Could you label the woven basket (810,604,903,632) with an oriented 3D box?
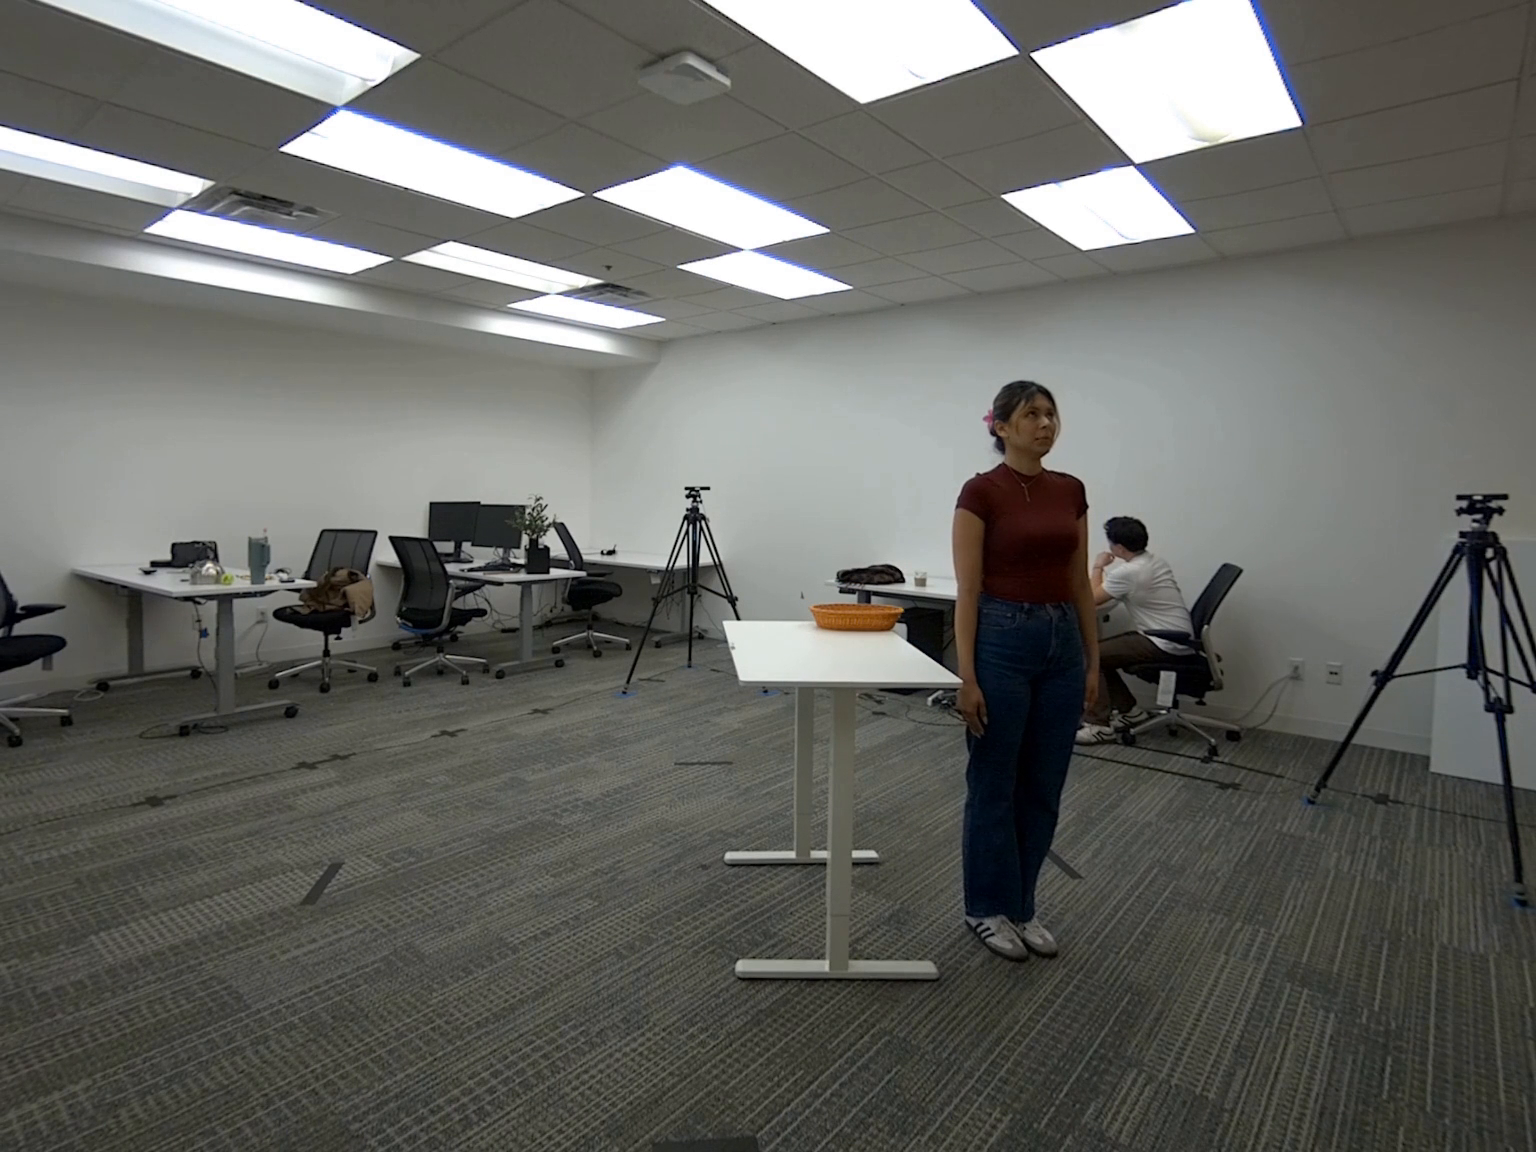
[{"bbox_3d":[0.320,0.152,3.142,0.353,0.073,0.251,1,5,6],"label":"woven basket"}]
